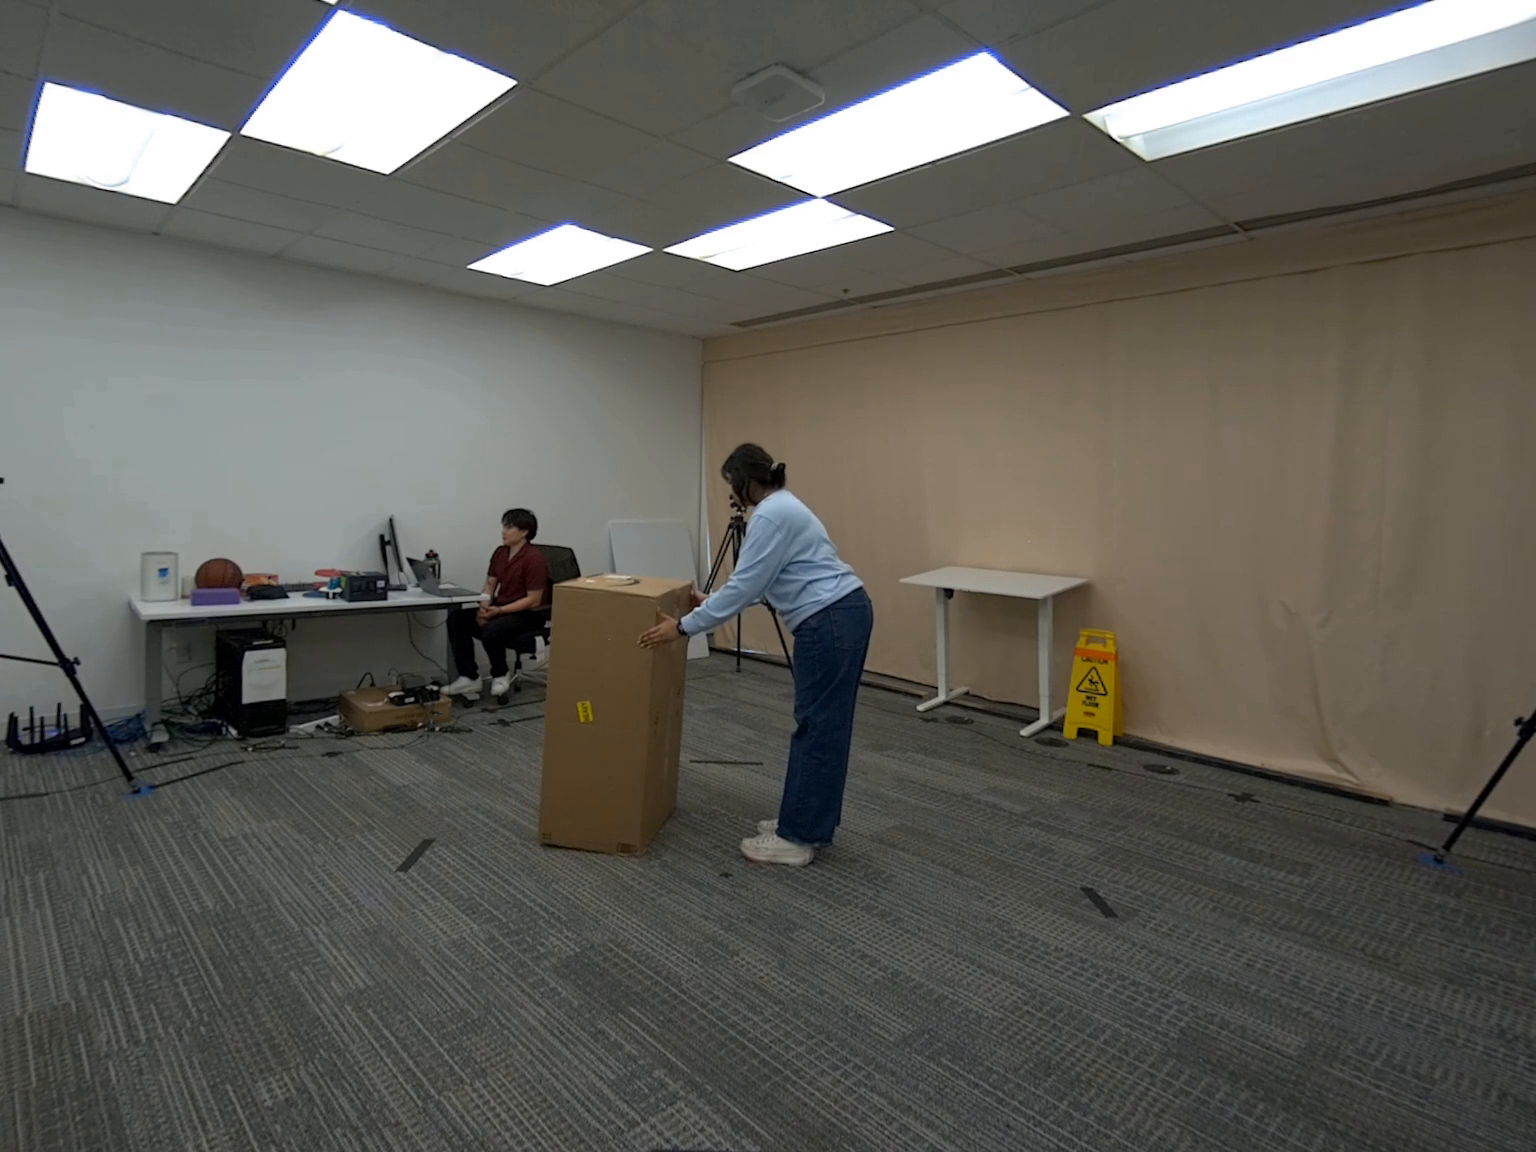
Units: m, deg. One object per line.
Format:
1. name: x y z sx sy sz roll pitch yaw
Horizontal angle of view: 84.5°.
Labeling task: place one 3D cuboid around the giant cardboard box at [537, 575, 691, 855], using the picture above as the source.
1. giant cardboard box: -0.624 0.534 3.521 0.430 1.023 0.574 5 4 10
